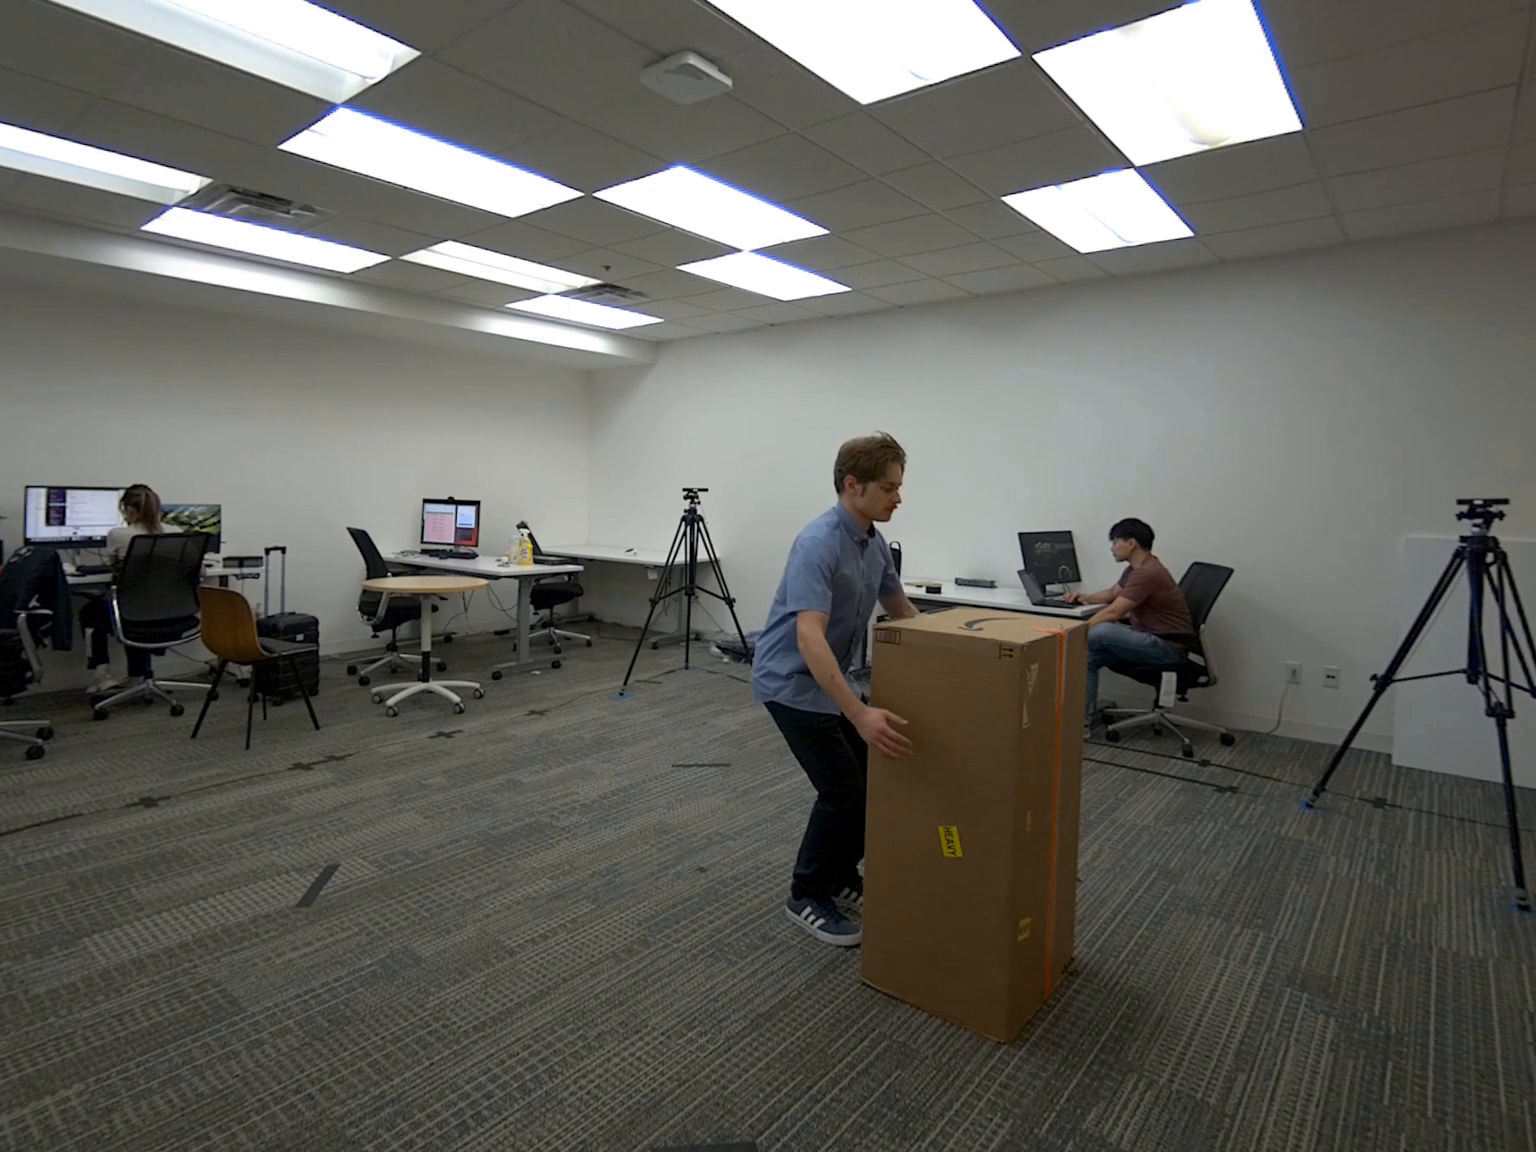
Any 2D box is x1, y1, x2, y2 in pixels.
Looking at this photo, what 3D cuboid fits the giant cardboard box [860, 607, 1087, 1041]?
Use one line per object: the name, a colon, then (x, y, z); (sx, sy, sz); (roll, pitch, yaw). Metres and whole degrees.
giant cardboard box: (0.611, 0.640, 2.474); (0.440, 1.023, 0.560); (3, 3, 38)
